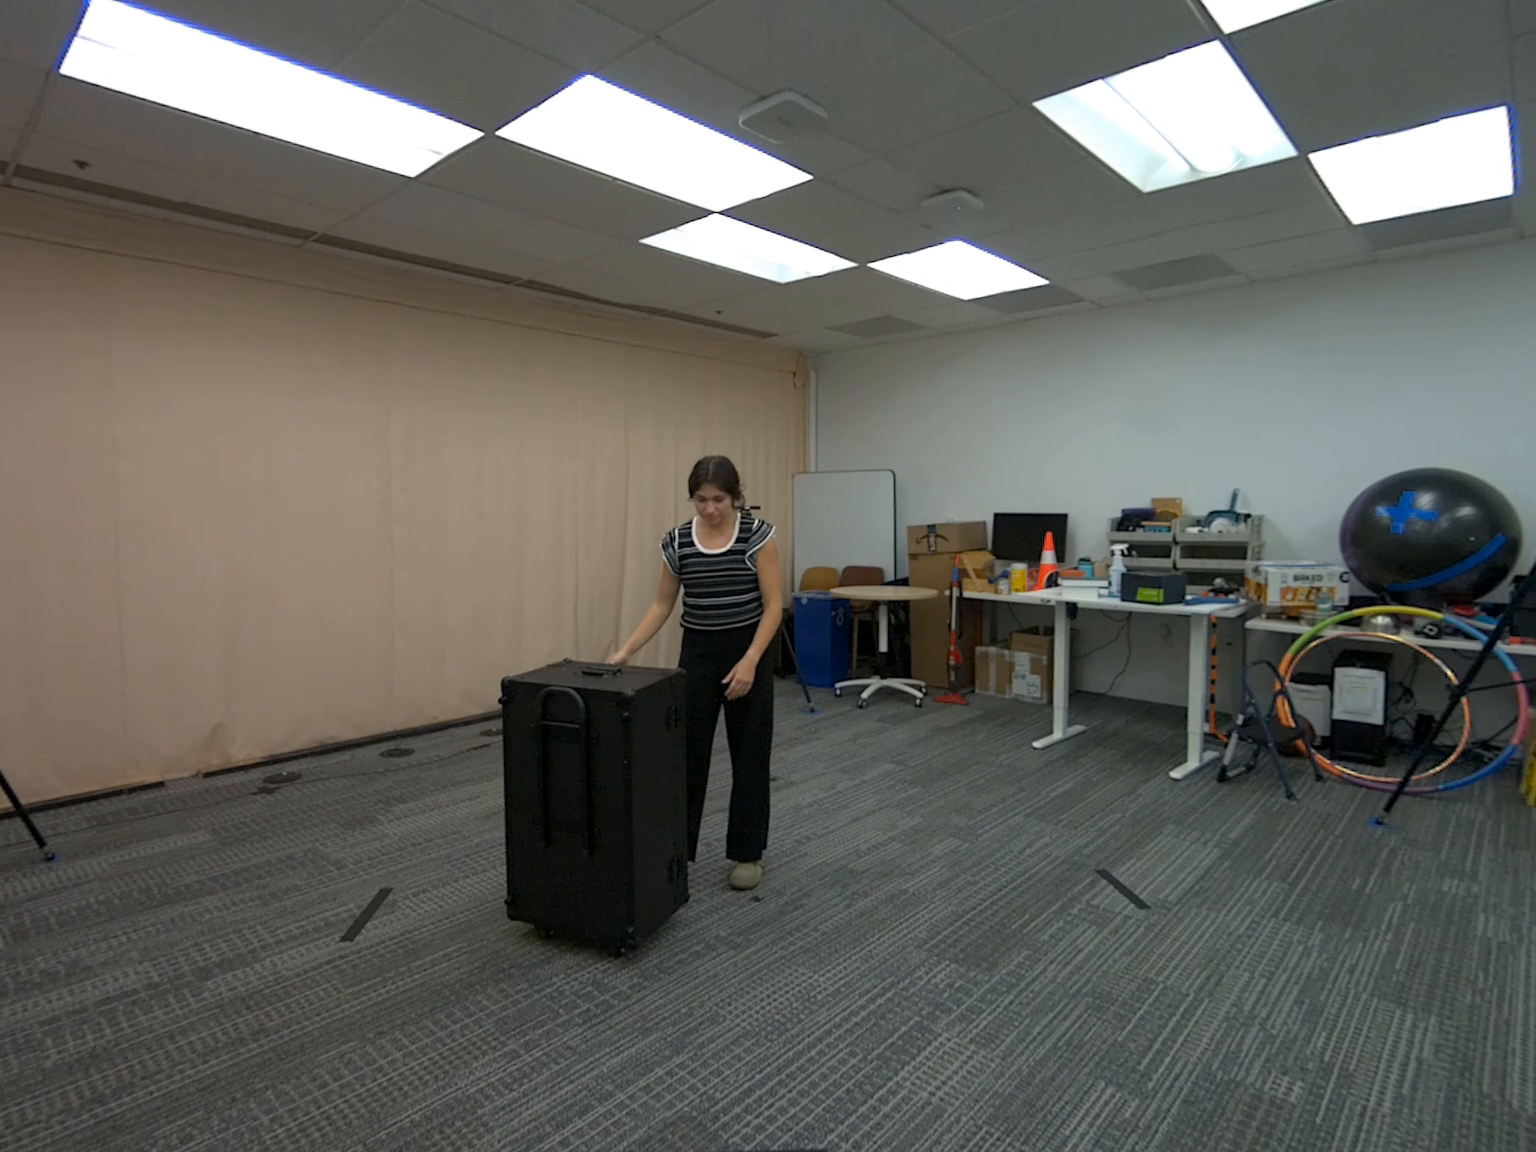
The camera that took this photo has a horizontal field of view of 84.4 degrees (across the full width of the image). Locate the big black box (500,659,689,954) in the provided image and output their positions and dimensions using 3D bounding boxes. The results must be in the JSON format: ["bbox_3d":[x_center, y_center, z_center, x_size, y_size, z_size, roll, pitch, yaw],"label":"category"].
[{"bbox_3d":[-0.558,0.751,2.736,0.534,0.860,0.387,1,3,24],"label":"big black box"}]
